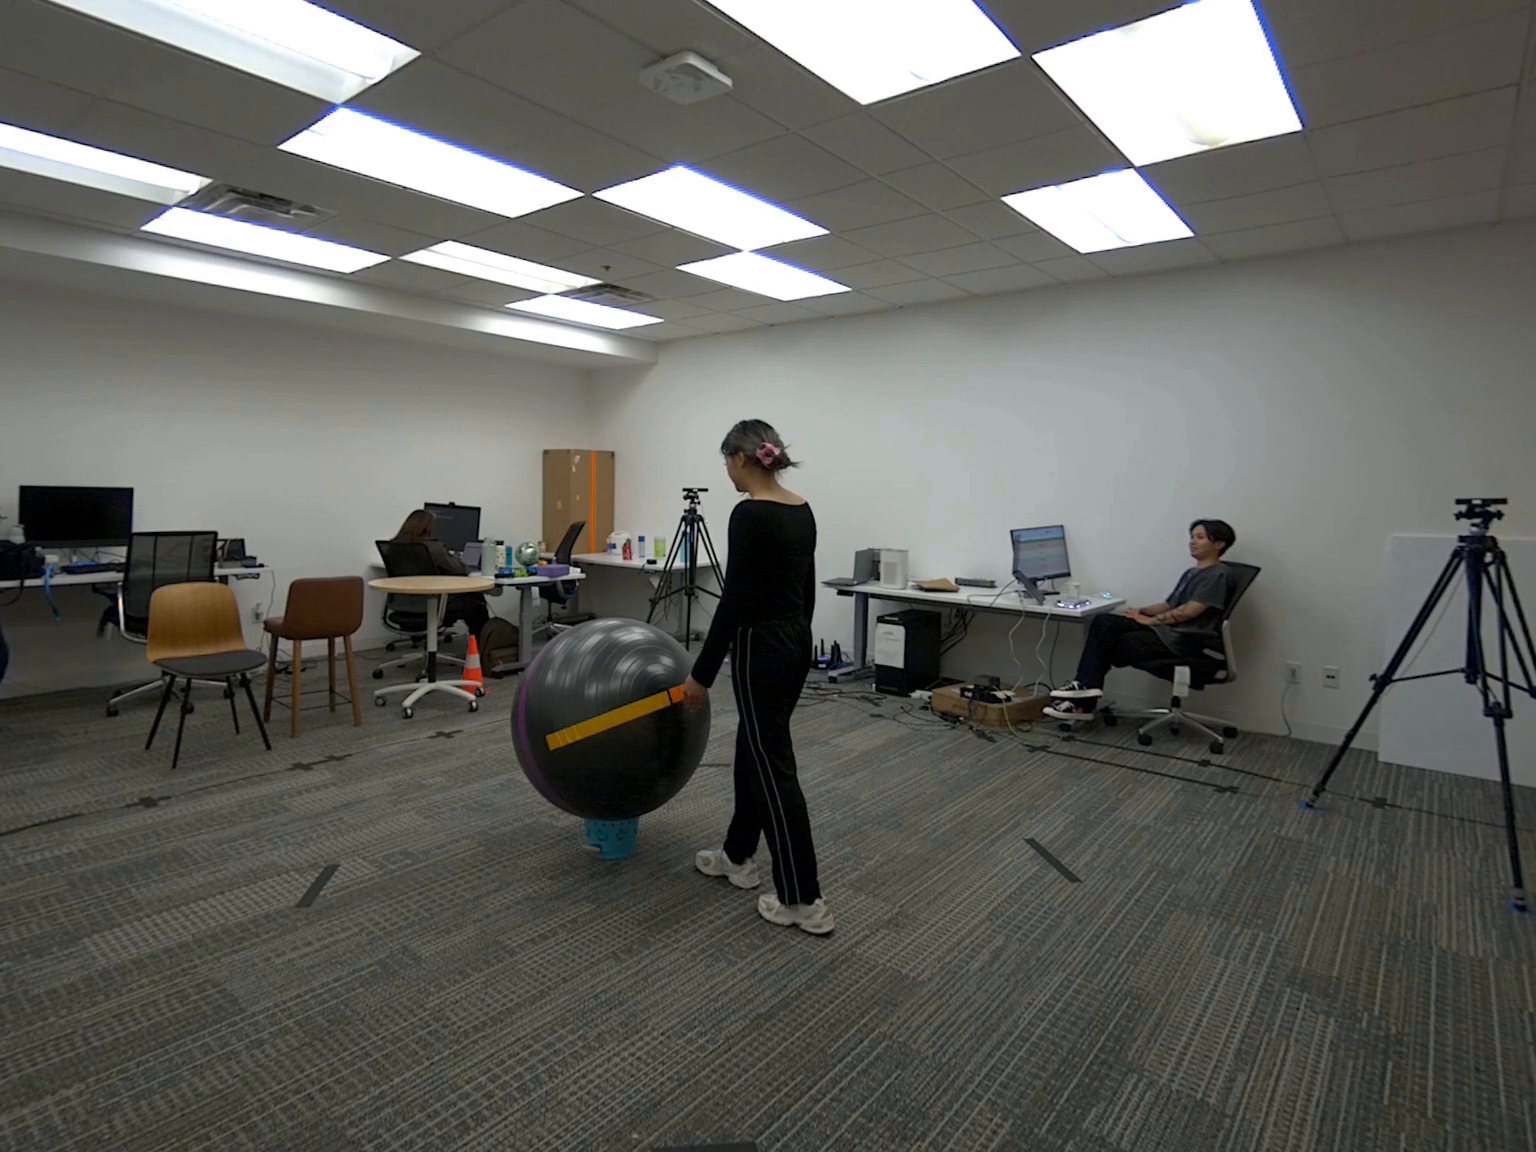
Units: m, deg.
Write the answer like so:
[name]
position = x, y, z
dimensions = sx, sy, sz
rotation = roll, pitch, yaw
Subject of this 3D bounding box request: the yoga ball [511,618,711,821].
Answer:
[yoga ball]
position = -0.608, 0.537, 3.253
dimensions = 0.757, 0.755, 0.762
rotation = 1, 4, -2
